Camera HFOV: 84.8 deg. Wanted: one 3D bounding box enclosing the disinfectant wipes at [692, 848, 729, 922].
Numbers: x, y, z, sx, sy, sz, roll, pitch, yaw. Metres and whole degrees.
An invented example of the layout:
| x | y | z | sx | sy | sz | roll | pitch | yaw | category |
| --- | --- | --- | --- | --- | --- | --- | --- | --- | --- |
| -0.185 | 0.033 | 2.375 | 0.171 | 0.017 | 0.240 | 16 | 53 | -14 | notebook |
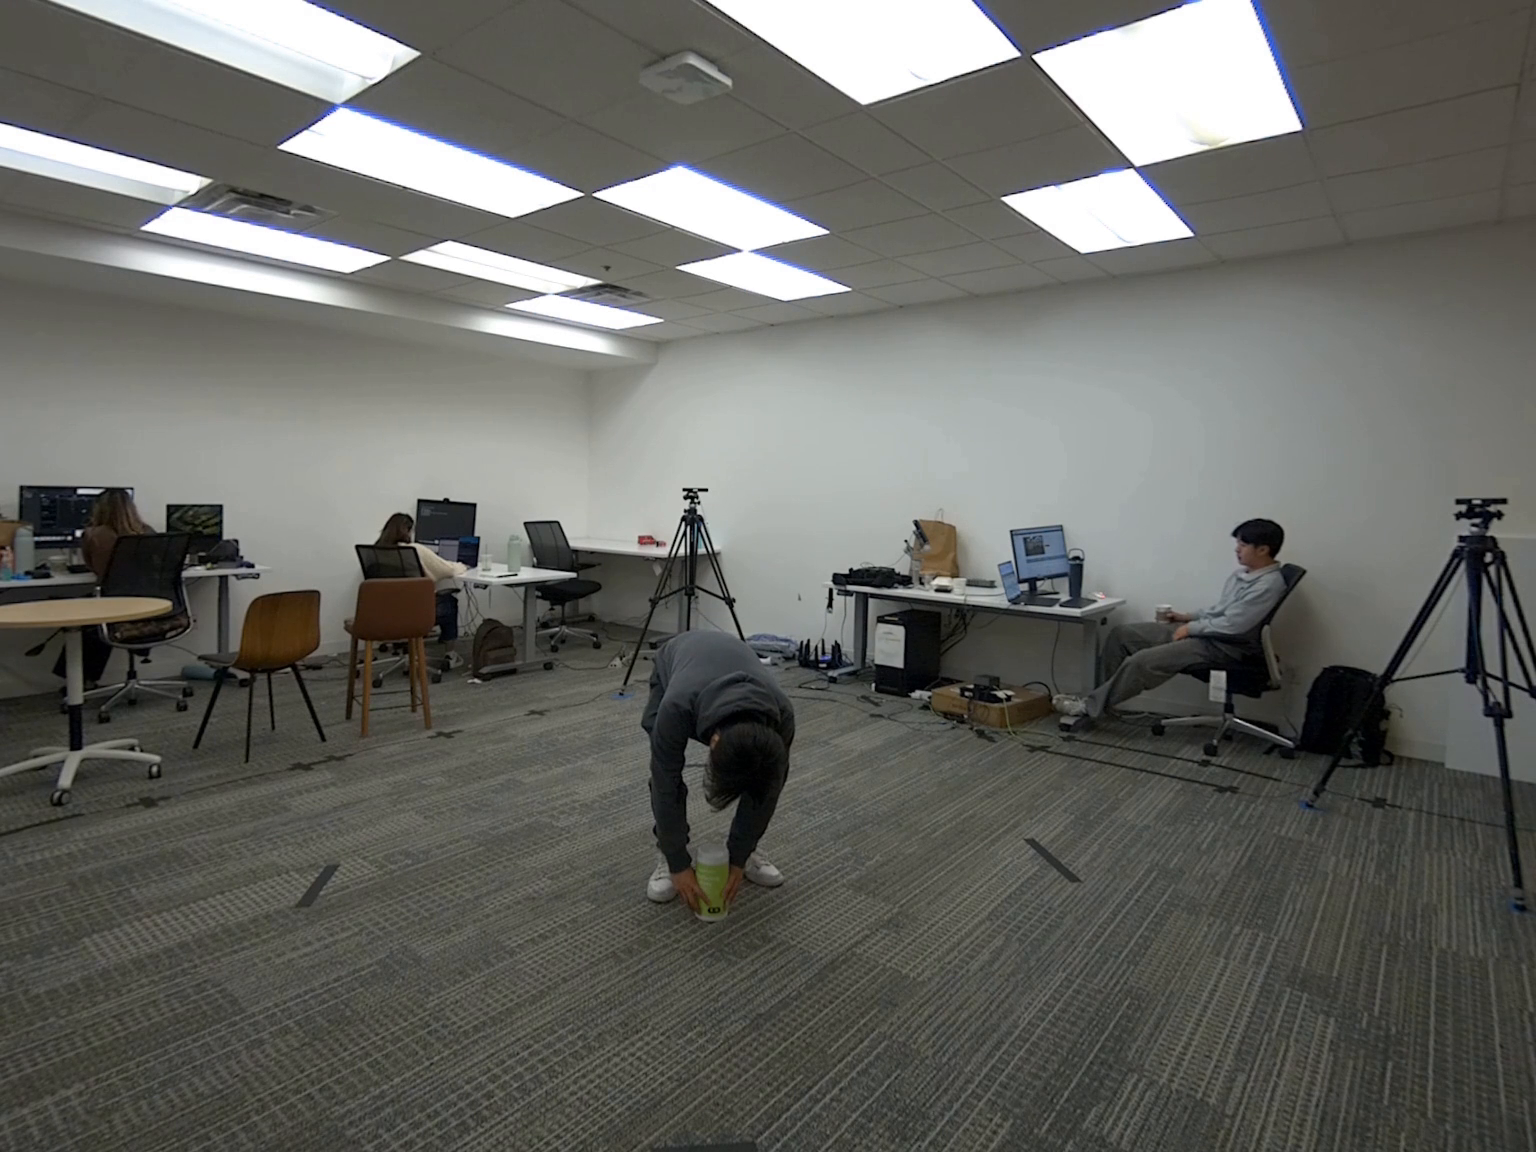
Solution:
| x | y | z | sx | sy | sz | roll | pitch | yaw | category |
| --- | --- | --- | --- | --- | --- | --- | --- | --- | --- |
| -0.196 | 1.002 | 2.766 | 0.118 | 0.217 | 0.118 | 1 | 4 | -2 | disinfectant wipes |
